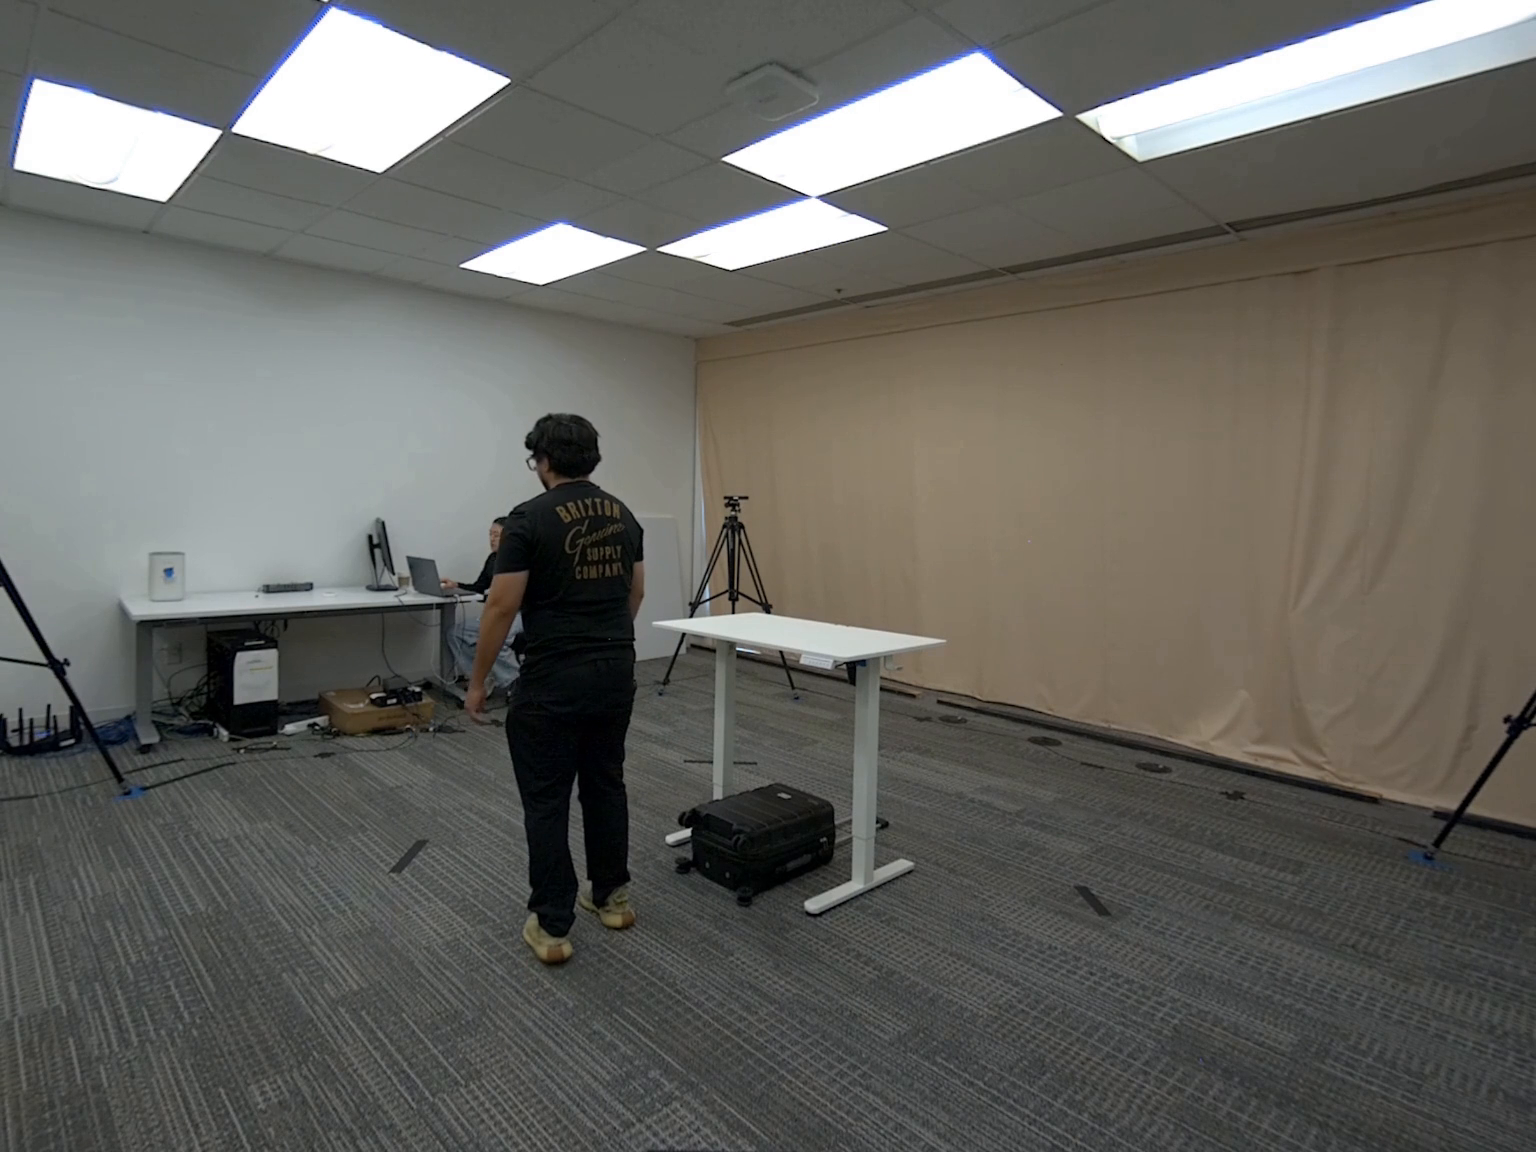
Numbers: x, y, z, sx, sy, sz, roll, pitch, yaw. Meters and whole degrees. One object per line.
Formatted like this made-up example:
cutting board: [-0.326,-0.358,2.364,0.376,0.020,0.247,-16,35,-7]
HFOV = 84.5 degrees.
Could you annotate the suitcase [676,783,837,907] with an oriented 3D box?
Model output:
suitcase: [0.113,0.967,3.316,0.394,0.256,0.957,4,7,45]
